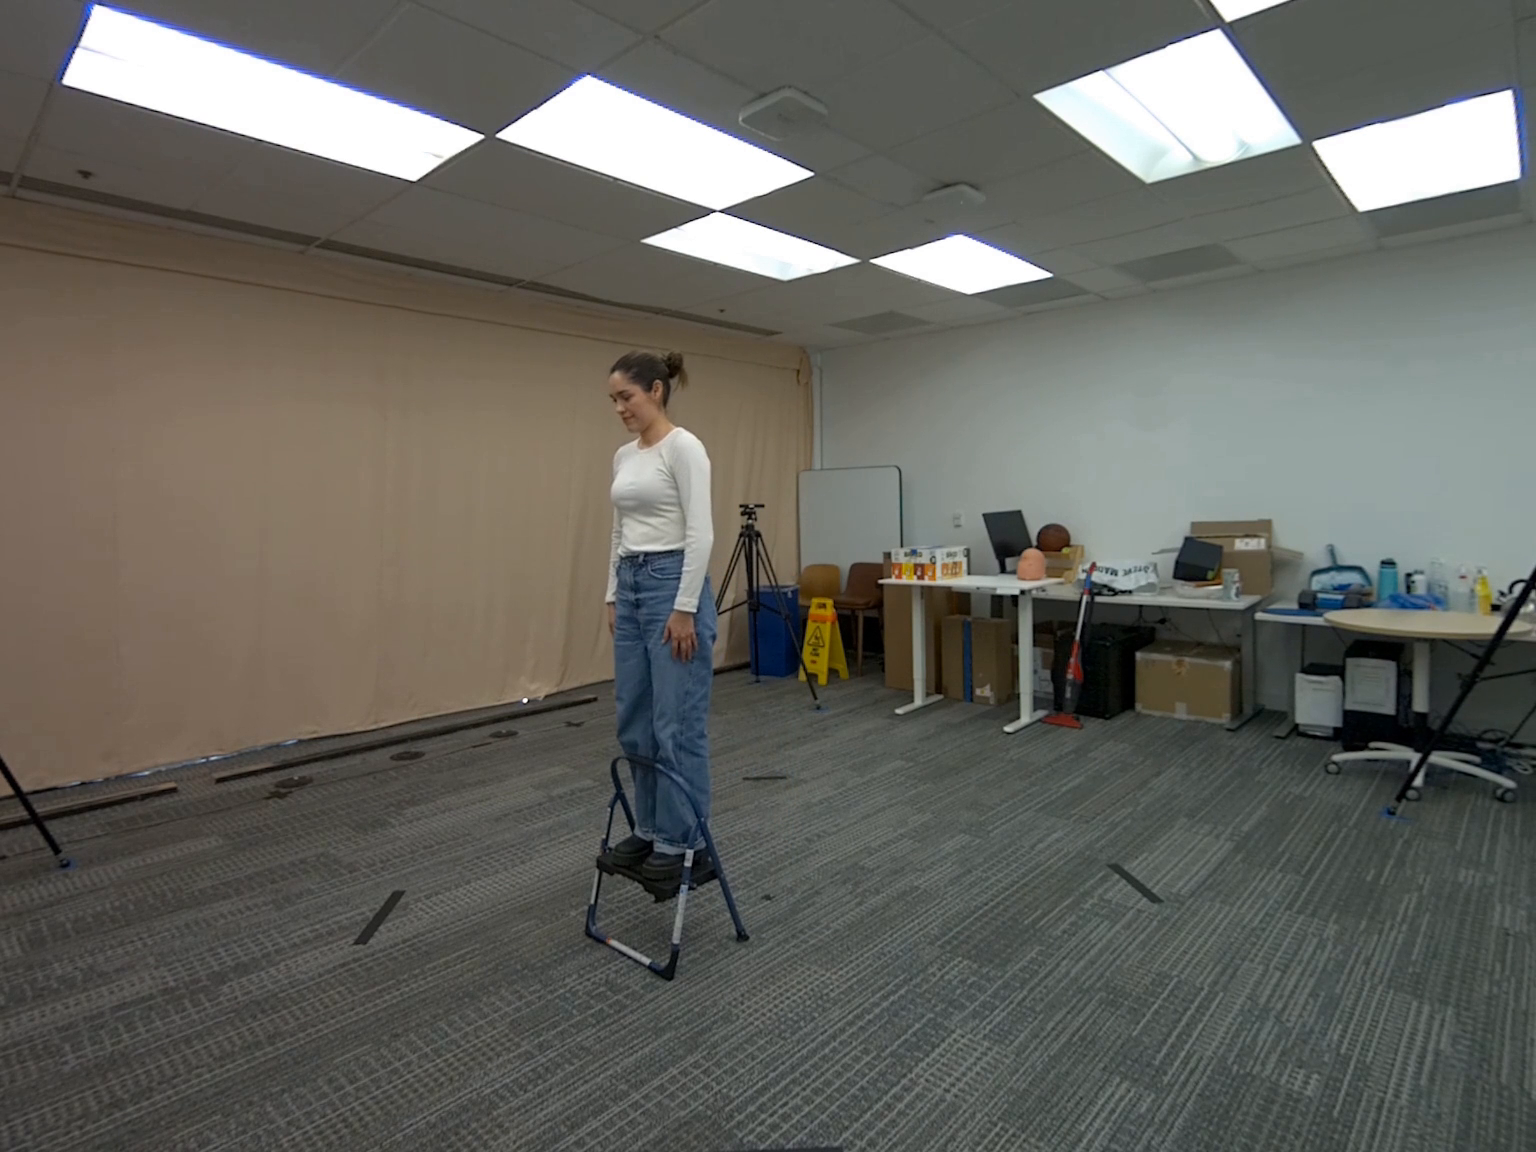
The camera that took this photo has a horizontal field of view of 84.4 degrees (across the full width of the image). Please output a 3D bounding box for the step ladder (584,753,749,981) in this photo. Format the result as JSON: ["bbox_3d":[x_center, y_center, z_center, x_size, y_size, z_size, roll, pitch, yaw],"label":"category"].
[{"bbox_3d":[-0.337,0.867,2.715,0.445,0.605,0.339,2,4,42],"label":"step ladder"}]
